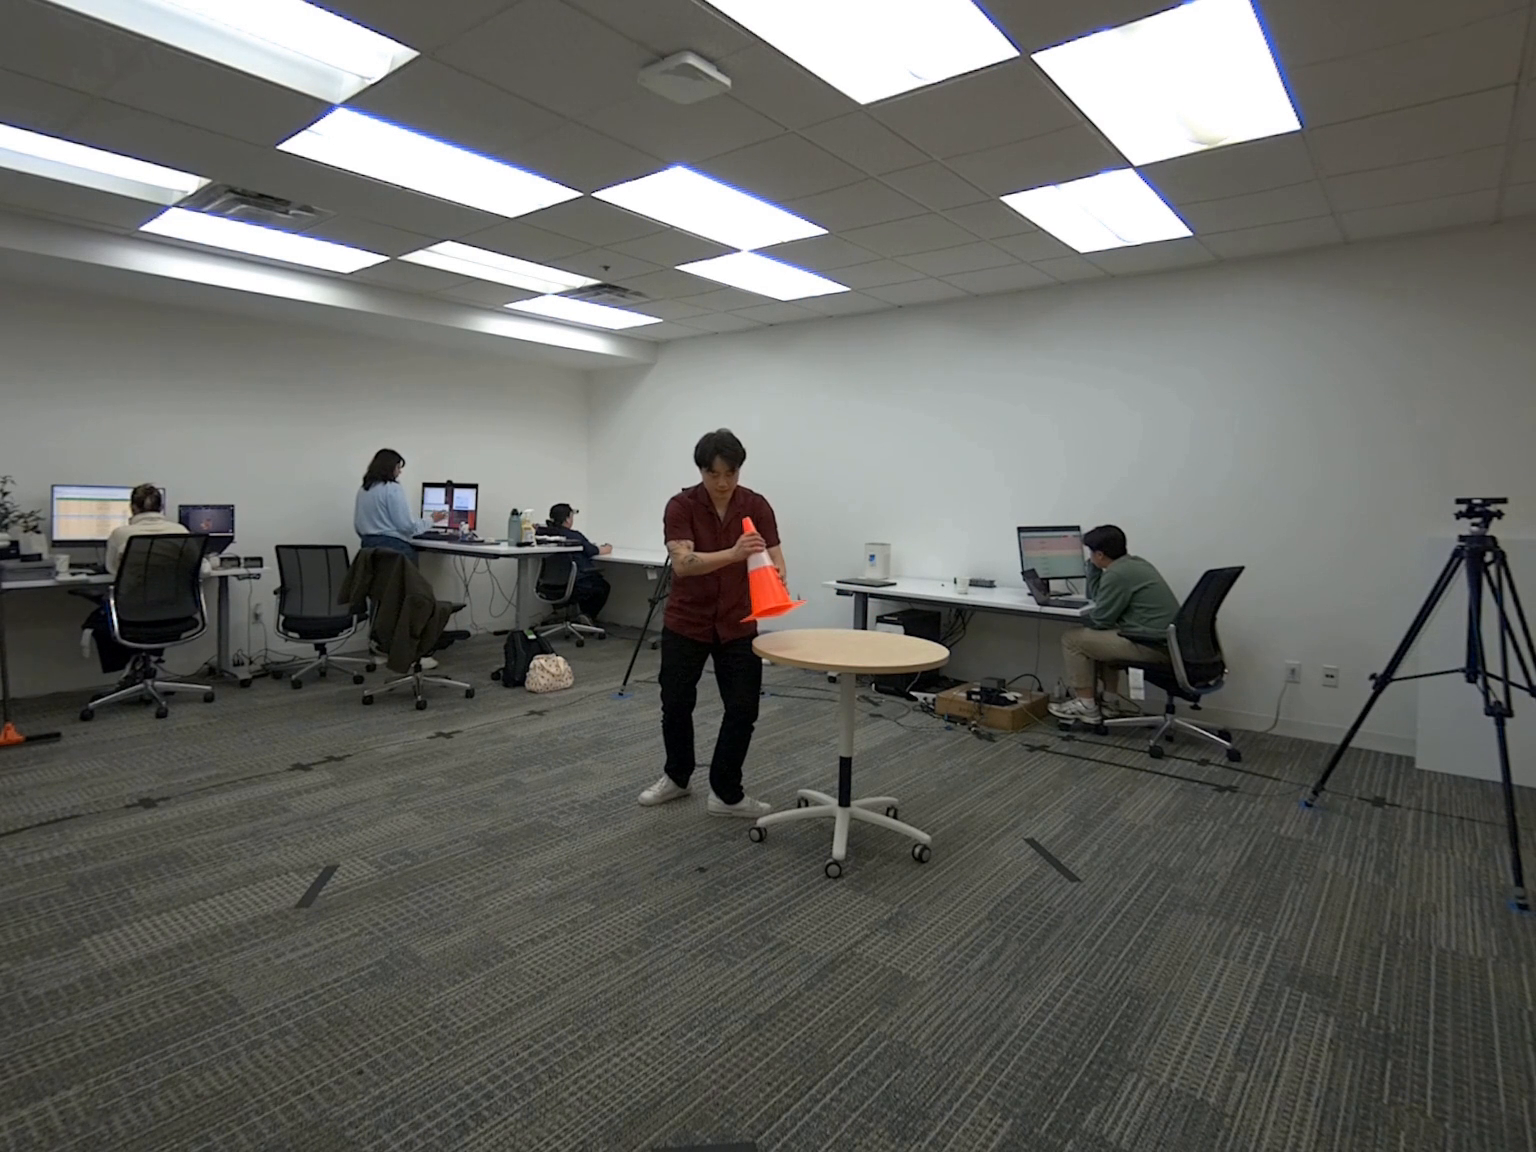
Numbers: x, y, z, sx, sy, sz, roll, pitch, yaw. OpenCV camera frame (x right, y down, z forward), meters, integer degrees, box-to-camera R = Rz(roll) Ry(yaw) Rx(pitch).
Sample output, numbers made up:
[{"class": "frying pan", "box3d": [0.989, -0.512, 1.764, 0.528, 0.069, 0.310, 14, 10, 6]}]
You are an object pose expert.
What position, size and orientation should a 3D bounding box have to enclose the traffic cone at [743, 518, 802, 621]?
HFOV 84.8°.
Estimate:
[{"class": "traffic cone", "box3d": [-0.035, -0.045, 3.290, 0.202, 0.390, 0.203, -7, -15, -15]}]
